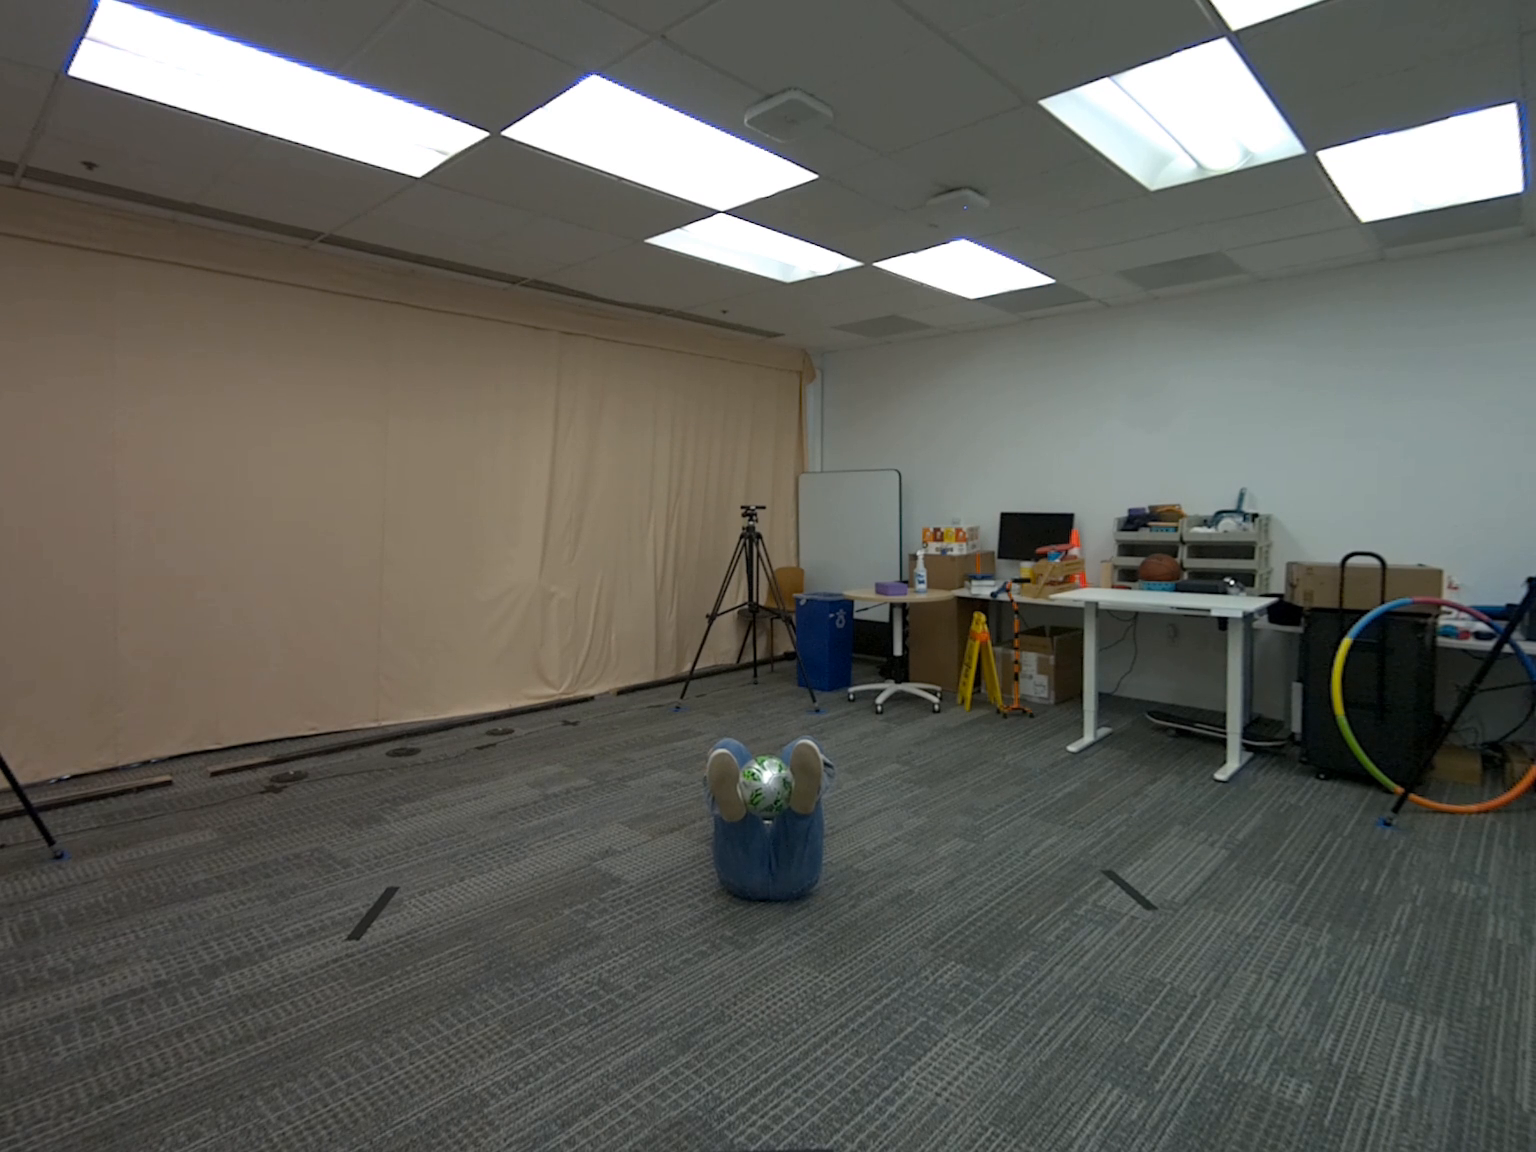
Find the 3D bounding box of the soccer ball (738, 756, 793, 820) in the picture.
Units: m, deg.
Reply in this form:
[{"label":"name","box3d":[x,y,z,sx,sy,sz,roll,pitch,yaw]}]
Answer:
[{"label":"soccer ball","box3d":[0.013,0.663,2.630,0.187,0.187,0.188,3,4,-2]}]
